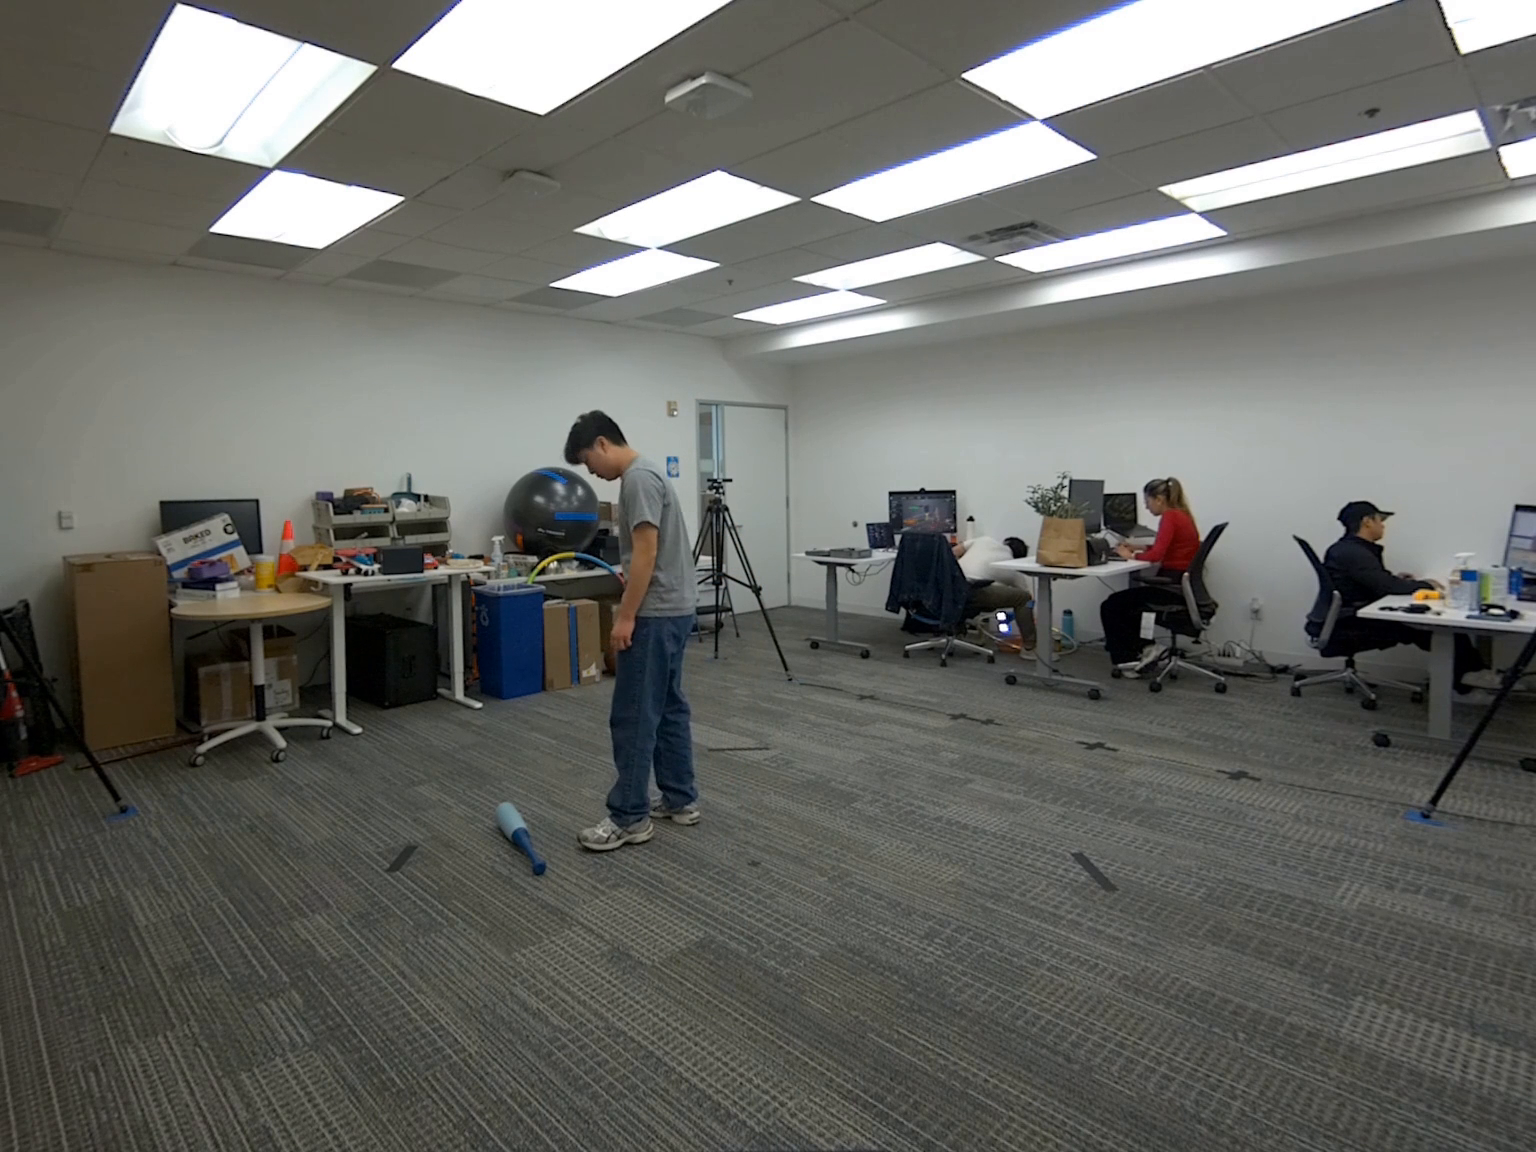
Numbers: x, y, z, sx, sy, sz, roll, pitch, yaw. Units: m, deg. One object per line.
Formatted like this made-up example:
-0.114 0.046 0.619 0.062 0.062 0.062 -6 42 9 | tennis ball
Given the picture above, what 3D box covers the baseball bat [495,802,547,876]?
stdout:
-0.941 1.008 3.281 0.087 0.088 0.559 -3 10 -28 | baseball bat
